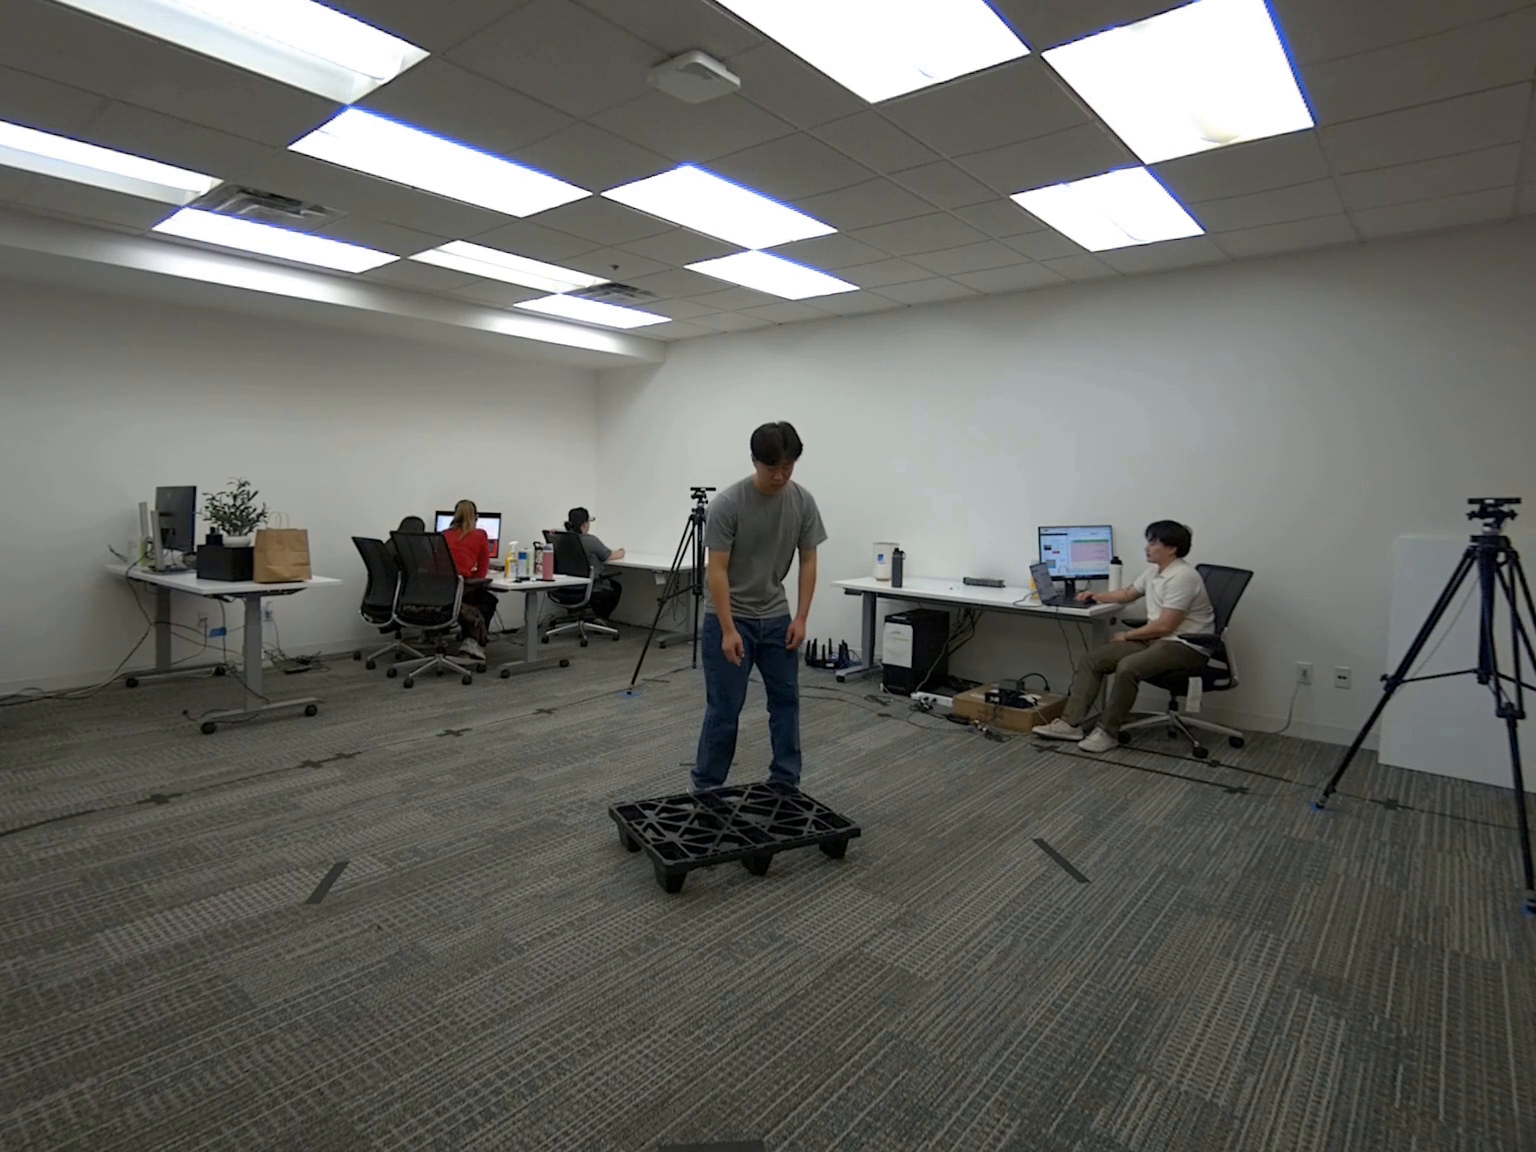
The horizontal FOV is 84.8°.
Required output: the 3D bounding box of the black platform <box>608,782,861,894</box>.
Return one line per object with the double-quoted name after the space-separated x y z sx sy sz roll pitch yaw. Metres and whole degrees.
-0.147 0.984 3.266 0.785 0.142 0.623 -2 7 -28 "black platform"
